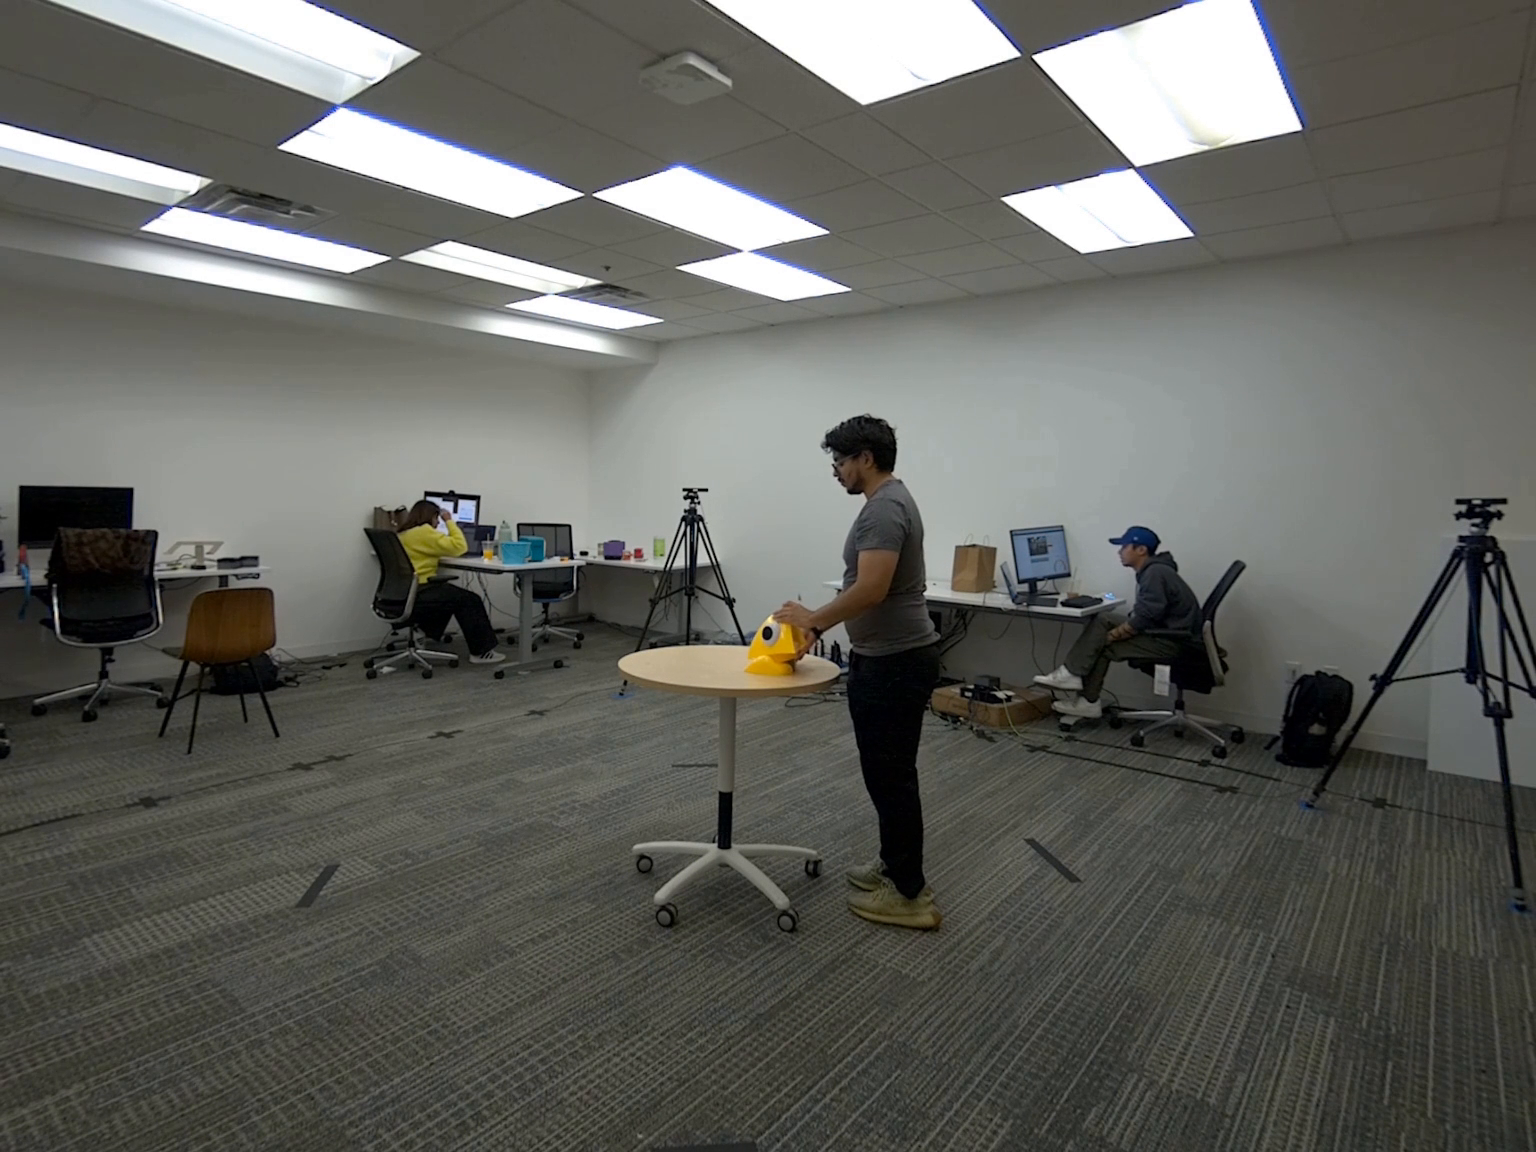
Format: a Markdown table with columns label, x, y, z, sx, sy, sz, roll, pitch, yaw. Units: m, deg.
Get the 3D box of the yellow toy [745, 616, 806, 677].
| label | x | y | z | sx | sy | sz | roll | pitch | yaw |
| --- | --- | --- | --- | --- | --- | --- | --- | --- | --- |
| yellow toy | 0.015 | 0.199 | 2.882 | 0.196 | 0.230 | 0.202 | 2 | 3 | 15 |
